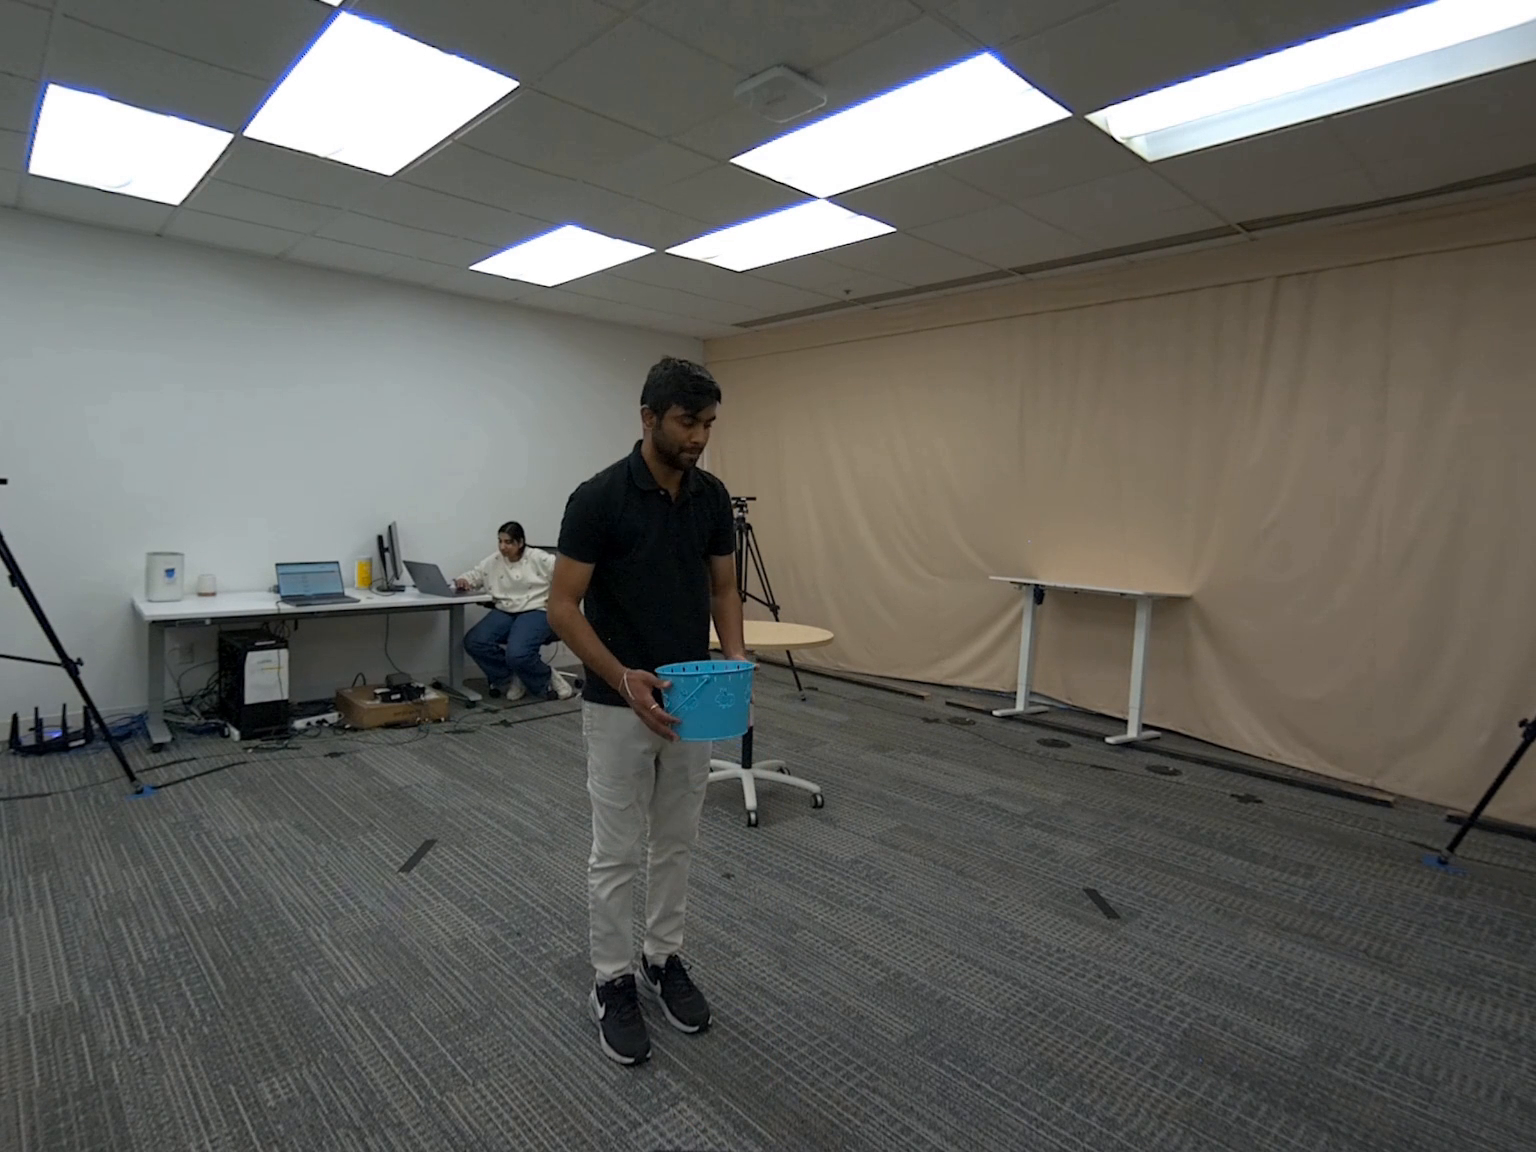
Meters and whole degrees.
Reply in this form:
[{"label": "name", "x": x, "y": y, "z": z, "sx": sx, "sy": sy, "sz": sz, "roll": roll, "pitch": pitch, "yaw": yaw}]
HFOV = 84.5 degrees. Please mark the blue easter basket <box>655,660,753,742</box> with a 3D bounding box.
[{"label": "blue easter basket", "x": -0.178, "y": 0.298, "z": 1.914, "sx": 0.243, "sy": 0.156, "sz": 0.243, "roll": -1, "pitch": -1, "yaw": -1}]
